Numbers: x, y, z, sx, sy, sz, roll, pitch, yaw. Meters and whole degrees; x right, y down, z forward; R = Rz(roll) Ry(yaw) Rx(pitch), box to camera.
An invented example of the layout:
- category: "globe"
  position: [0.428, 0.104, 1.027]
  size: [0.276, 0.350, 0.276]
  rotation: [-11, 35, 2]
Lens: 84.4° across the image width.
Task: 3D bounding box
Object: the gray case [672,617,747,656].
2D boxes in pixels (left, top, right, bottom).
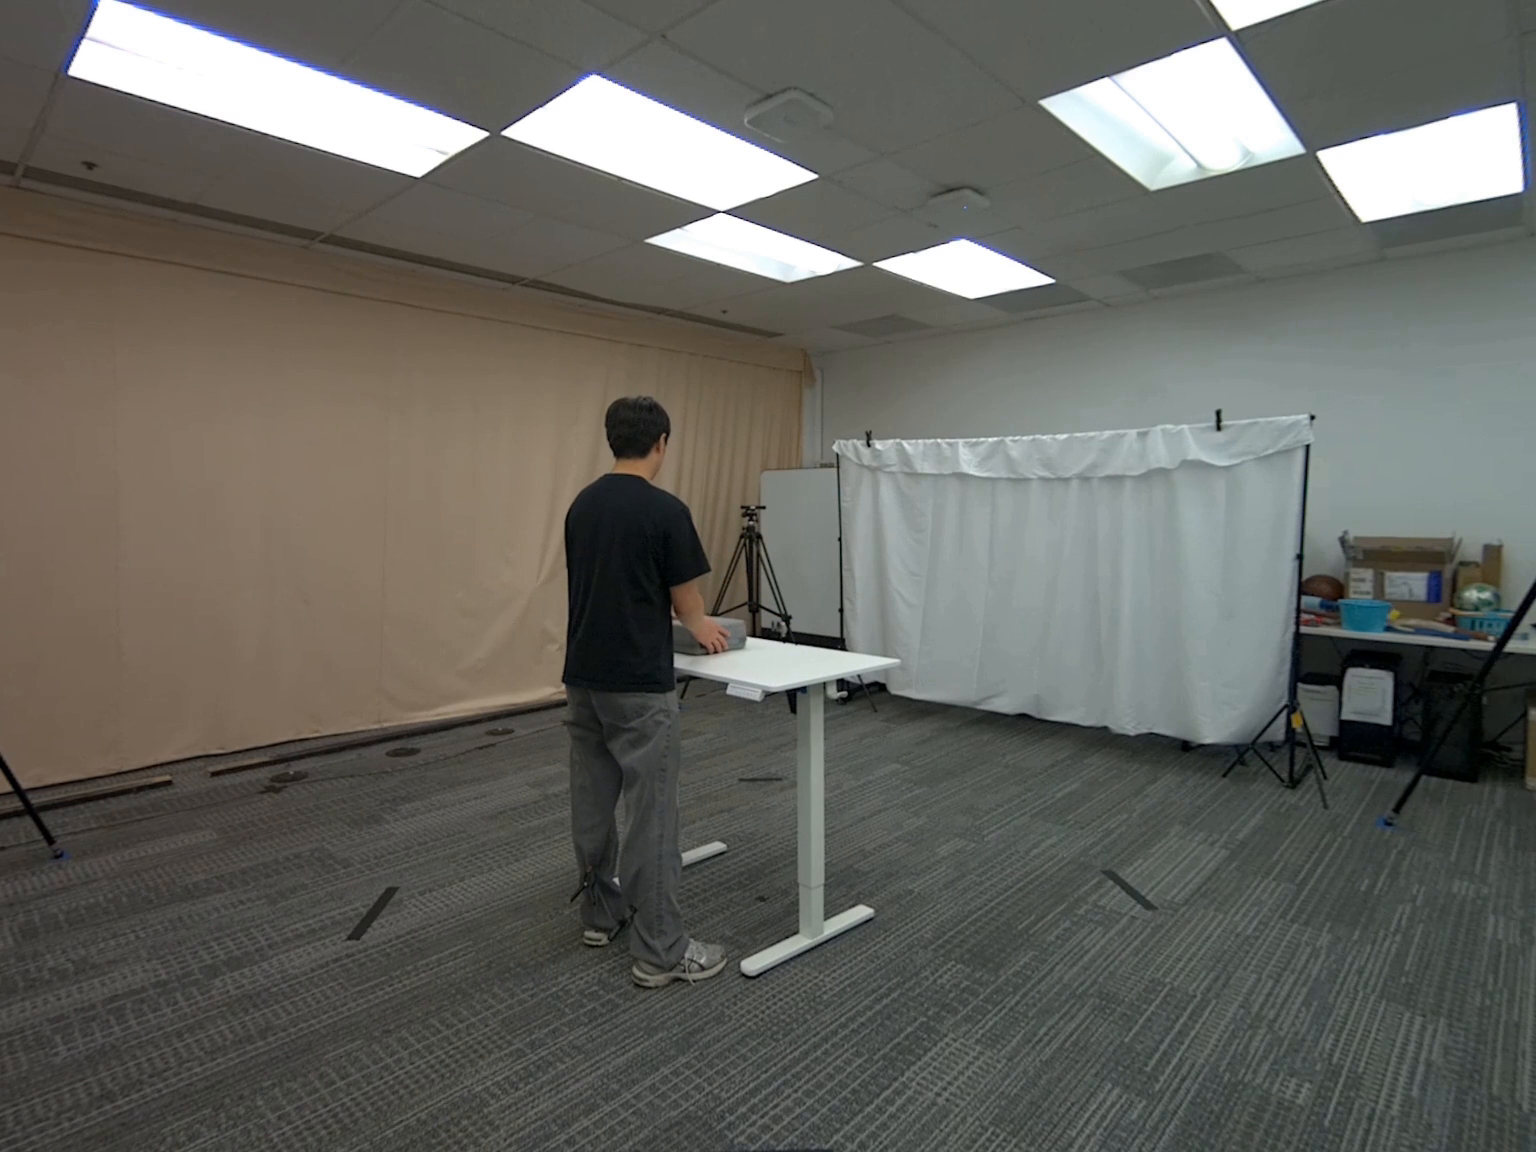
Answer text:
- category: "gray case"
  position: [-0.243, 0.209, 3.035]
  size: [0.255, 0.103, 0.296]
  rotation: [-4, 6, -38]
